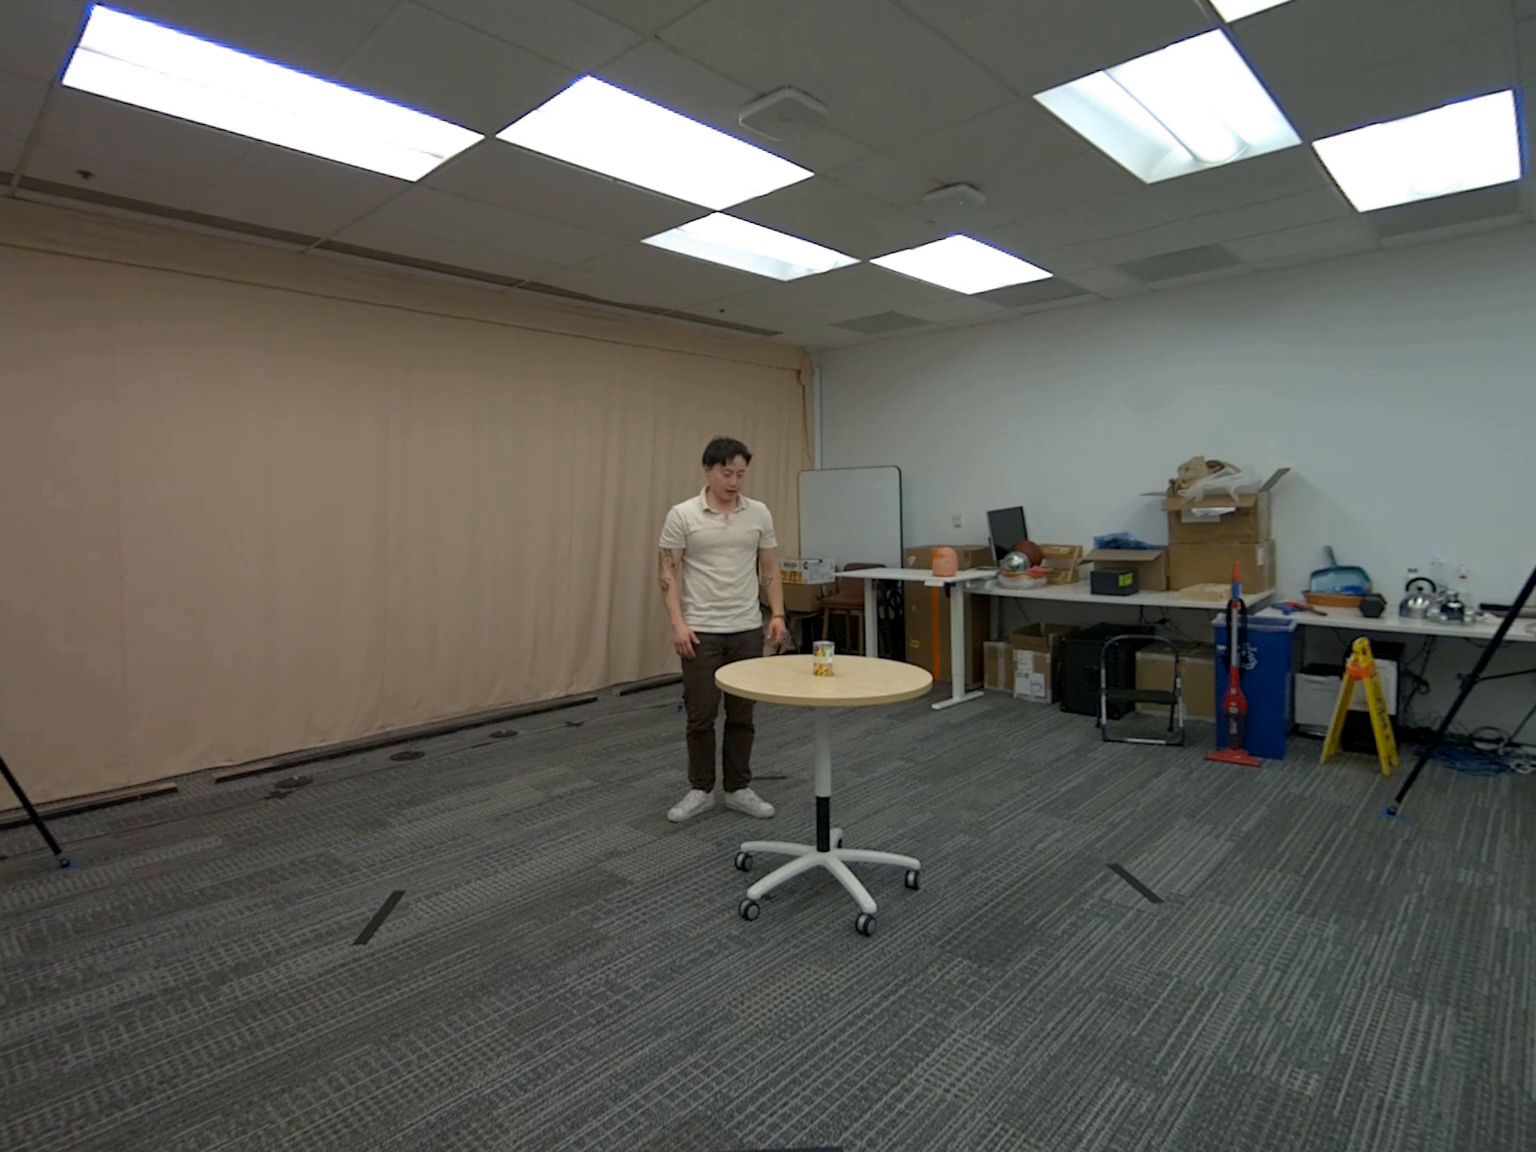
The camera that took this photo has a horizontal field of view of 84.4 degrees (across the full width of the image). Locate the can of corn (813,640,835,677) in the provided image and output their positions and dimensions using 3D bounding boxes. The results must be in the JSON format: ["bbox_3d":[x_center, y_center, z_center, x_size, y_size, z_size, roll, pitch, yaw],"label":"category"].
[{"bbox_3d":[0.205,0.296,2.991,0.074,0.111,0.074,0,4,-2],"label":"can of corn"}]
